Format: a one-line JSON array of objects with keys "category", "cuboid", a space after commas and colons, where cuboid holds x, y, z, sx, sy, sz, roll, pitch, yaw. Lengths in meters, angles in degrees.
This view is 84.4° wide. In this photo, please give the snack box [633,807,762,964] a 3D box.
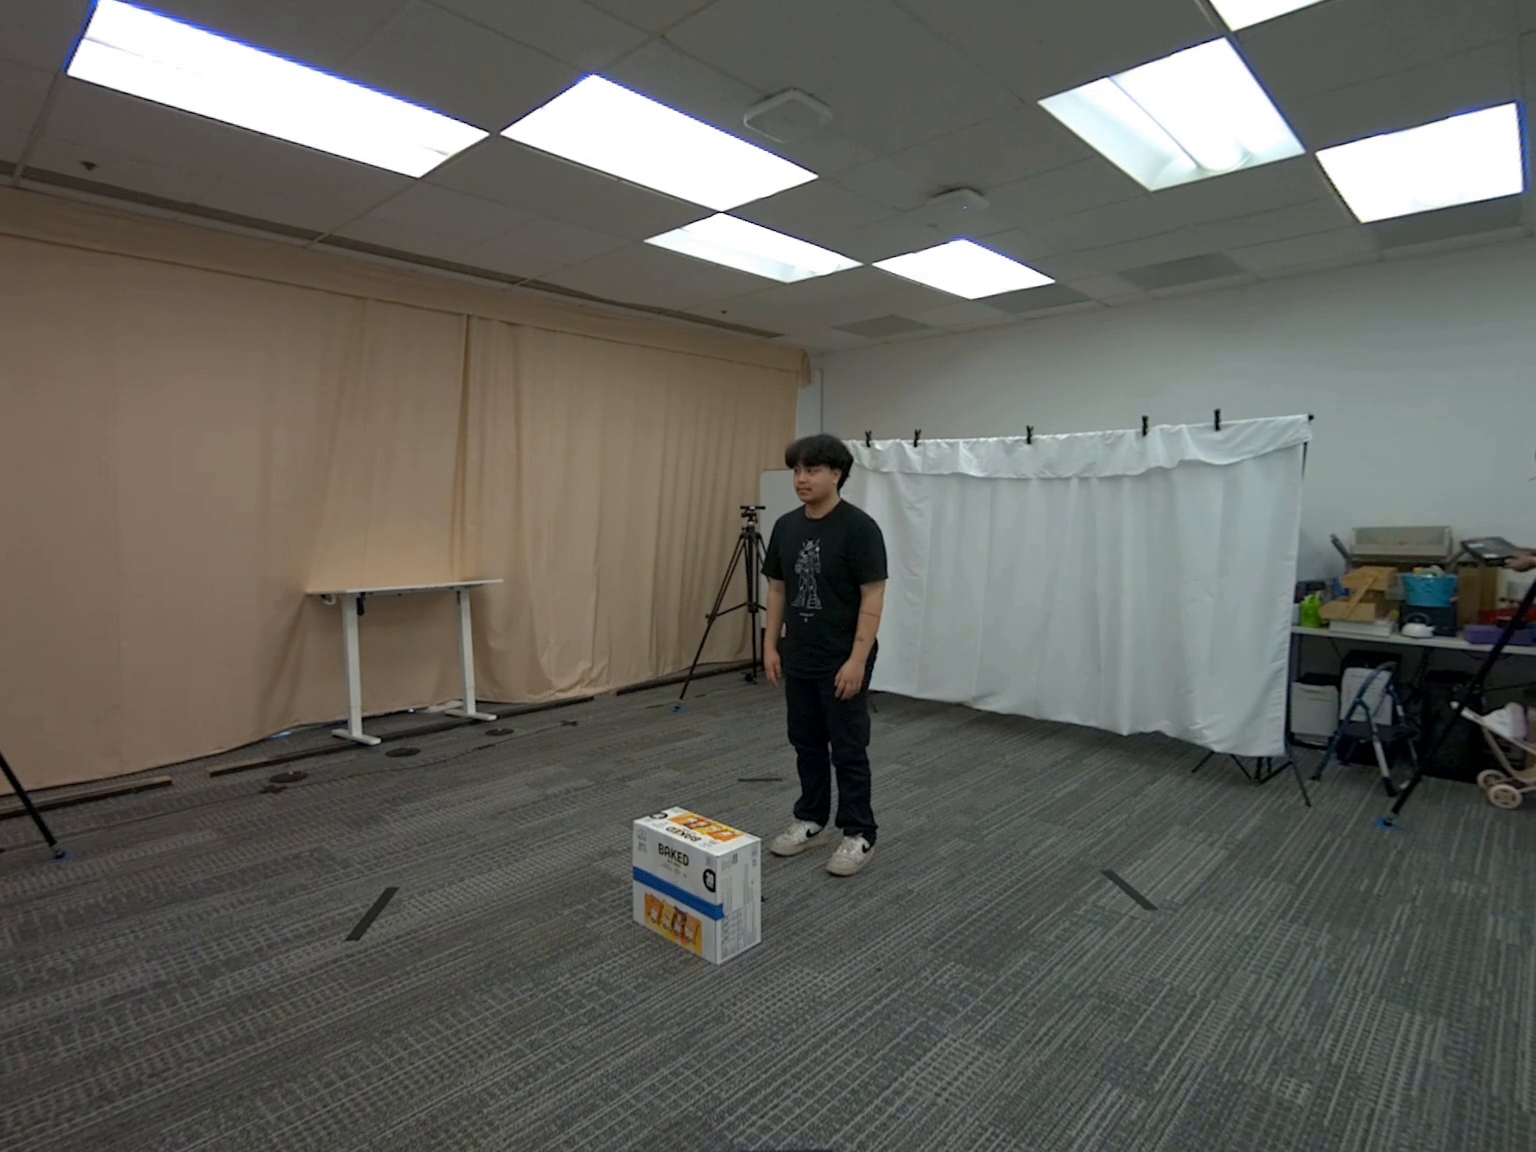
[{"category": "snack box", "cuboid": [-0.233, 0.995, 2.750, 0.419, 0.340, 0.199, 4, 5, 43]}]
